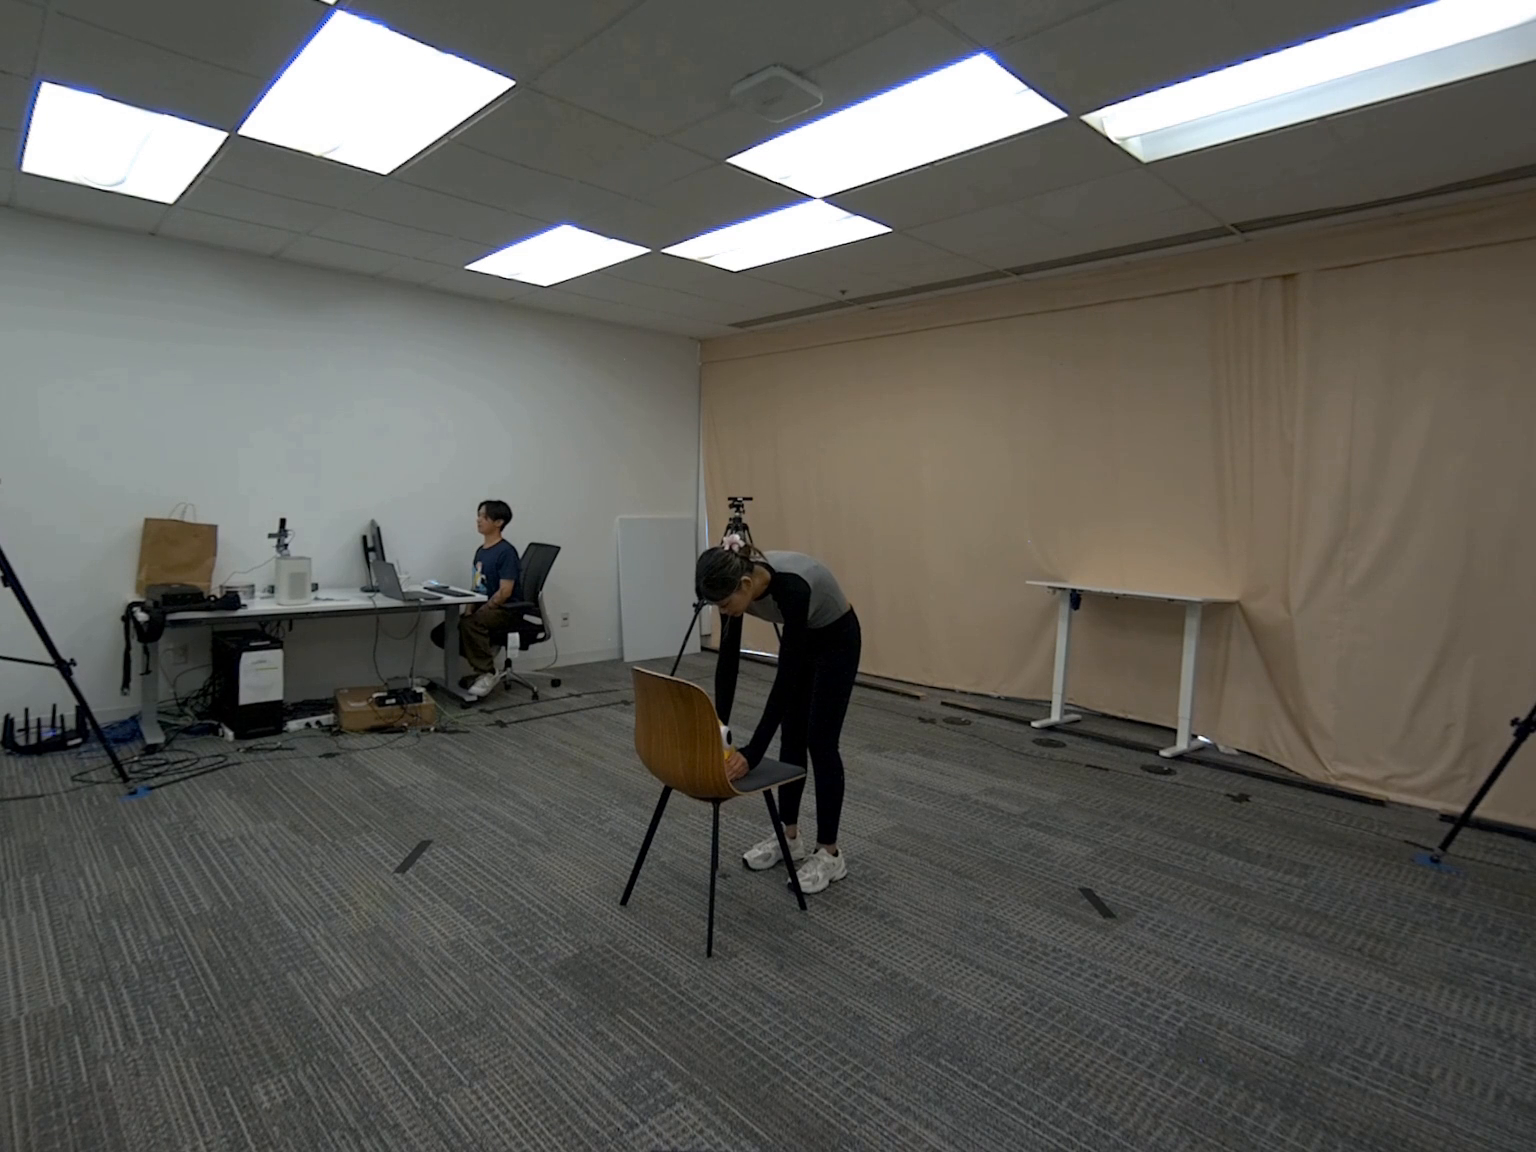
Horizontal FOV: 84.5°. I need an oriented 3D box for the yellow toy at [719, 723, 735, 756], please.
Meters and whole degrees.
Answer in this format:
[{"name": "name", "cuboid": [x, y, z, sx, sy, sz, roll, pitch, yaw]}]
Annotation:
[{"name": "yellow toy", "cuboid": [-0.190, 0.551, 2.801, 0.189, 0.229, 0.210, -8, 10, -41]}]
